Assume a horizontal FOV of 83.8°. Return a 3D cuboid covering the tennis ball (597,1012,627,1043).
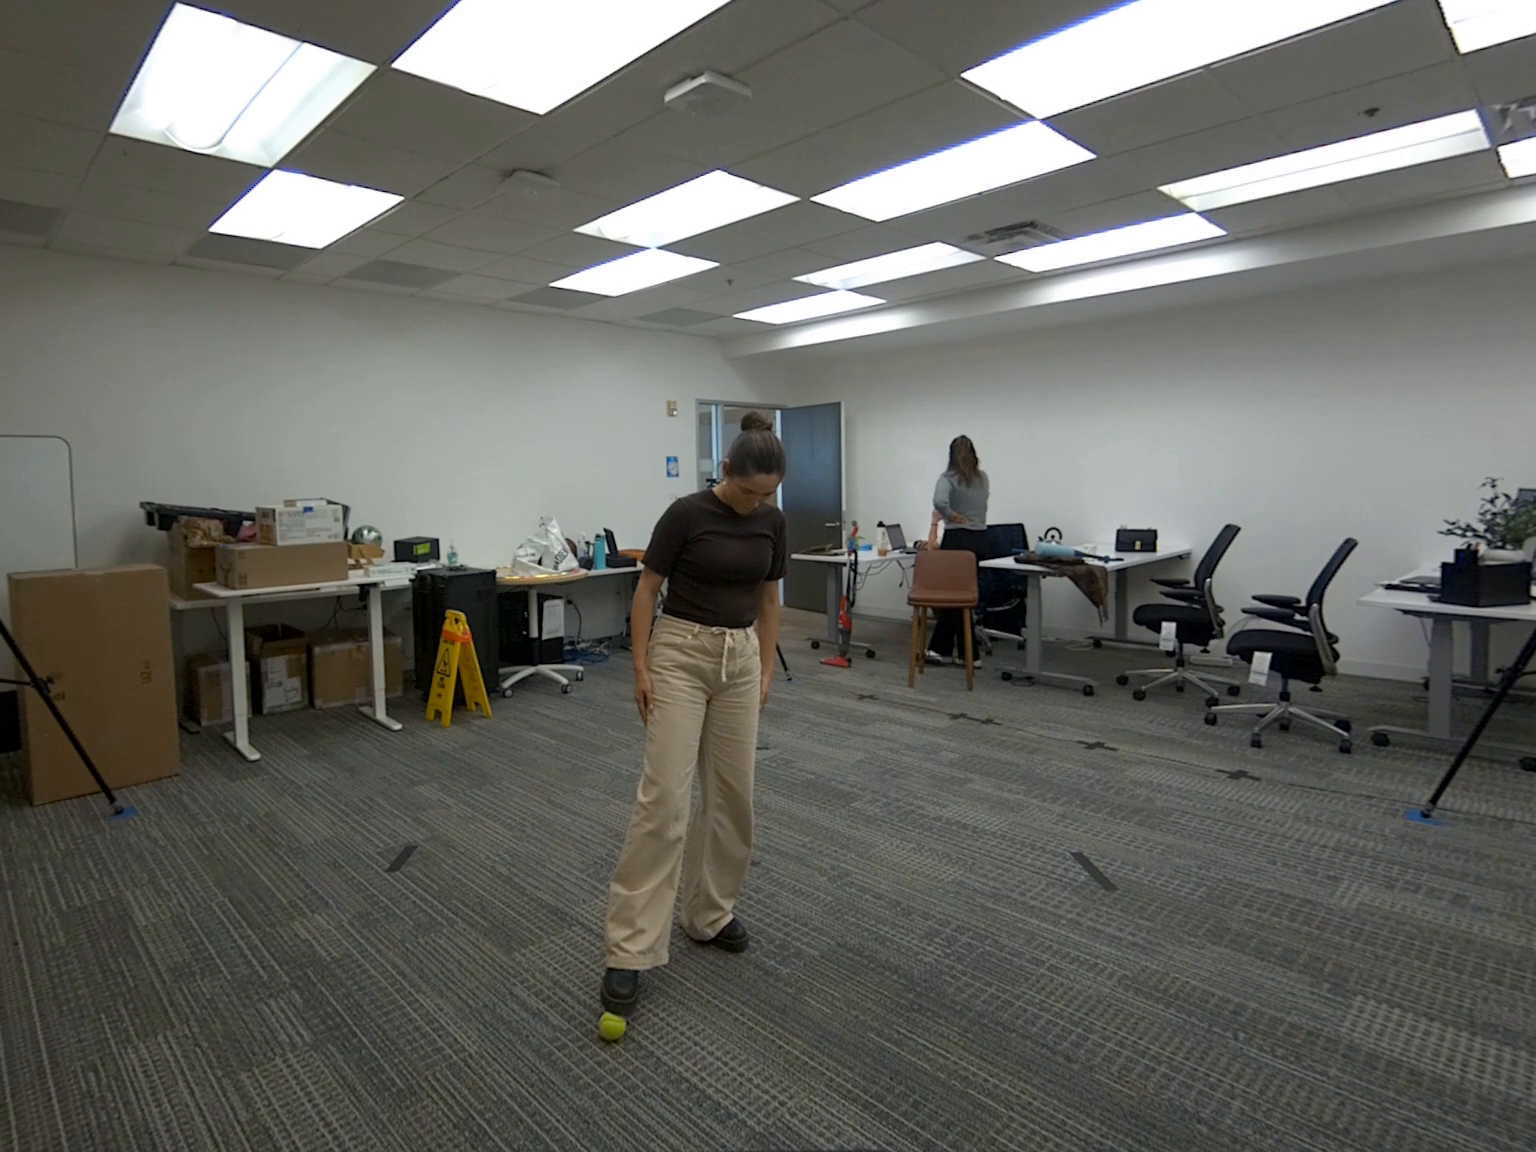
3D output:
[{"bbox_3d":[-0.385,1.139,2.151,0.066,0.066,0.067,-1,5,-2],"label":"tennis ball"}]
